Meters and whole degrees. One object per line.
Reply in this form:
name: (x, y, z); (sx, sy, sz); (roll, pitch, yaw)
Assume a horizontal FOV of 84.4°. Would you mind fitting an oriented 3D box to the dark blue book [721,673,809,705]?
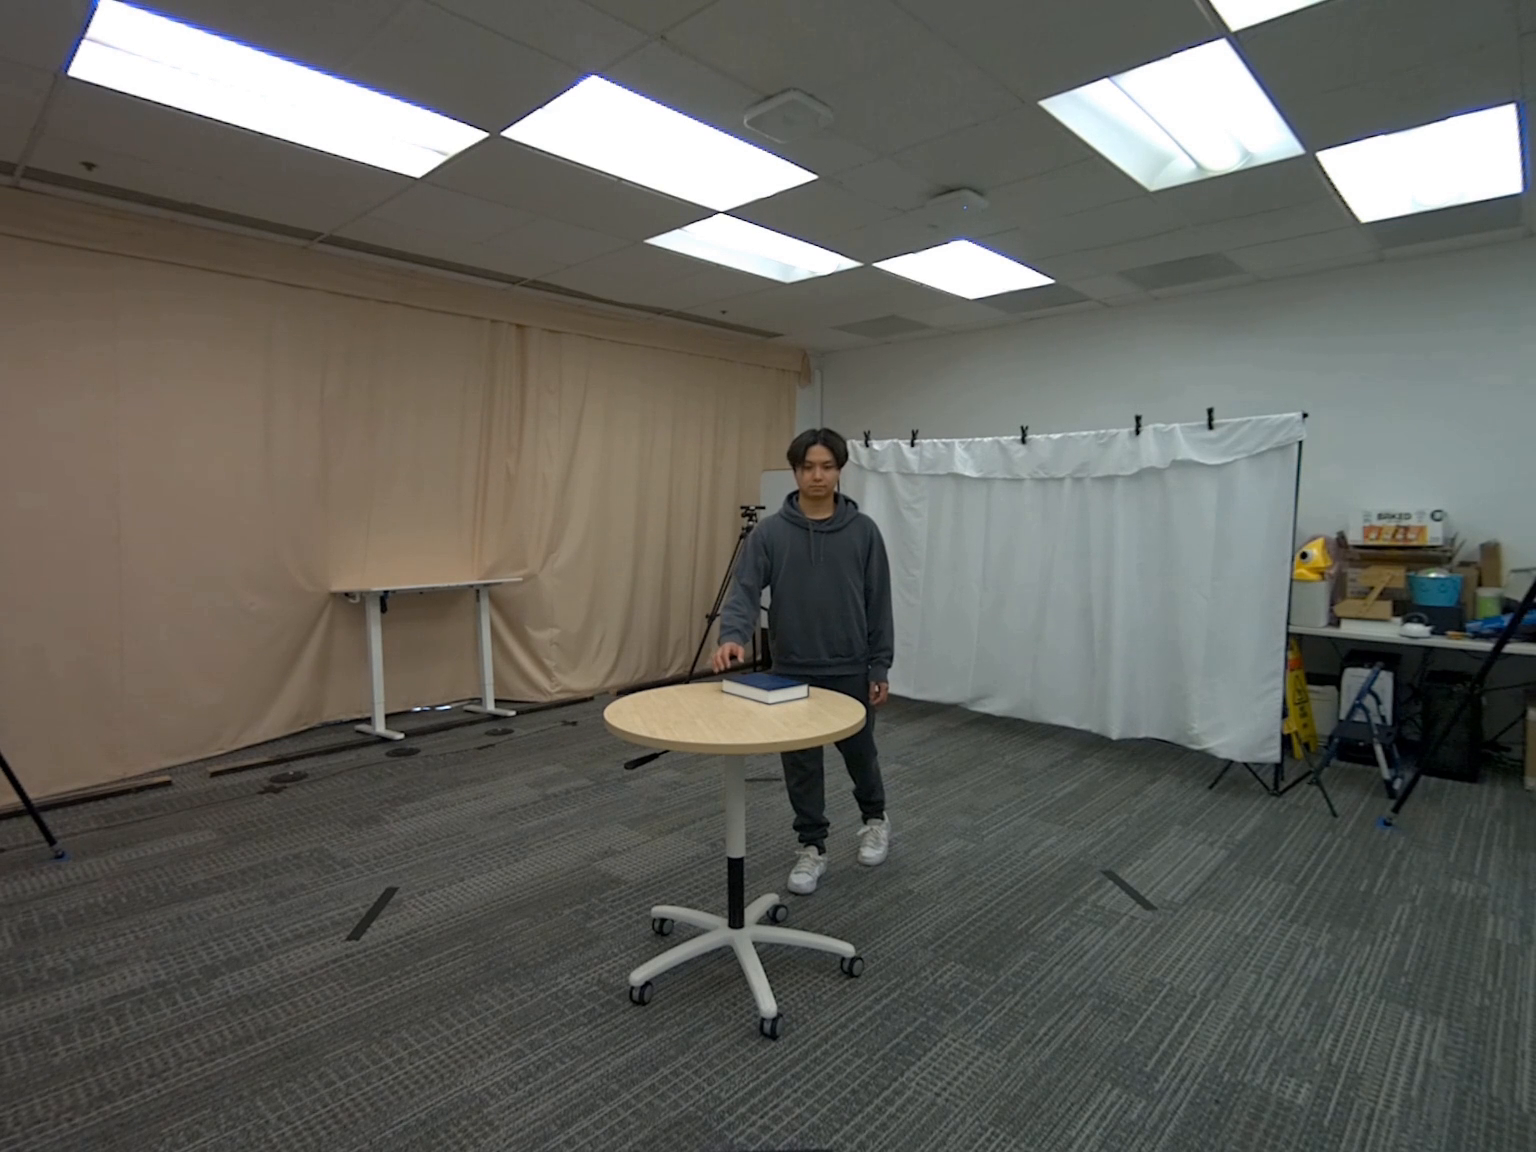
dark blue book: (-0.012, 0.358, 2.660); (0.158, 0.045, 0.253); (-5, 7, -37)
